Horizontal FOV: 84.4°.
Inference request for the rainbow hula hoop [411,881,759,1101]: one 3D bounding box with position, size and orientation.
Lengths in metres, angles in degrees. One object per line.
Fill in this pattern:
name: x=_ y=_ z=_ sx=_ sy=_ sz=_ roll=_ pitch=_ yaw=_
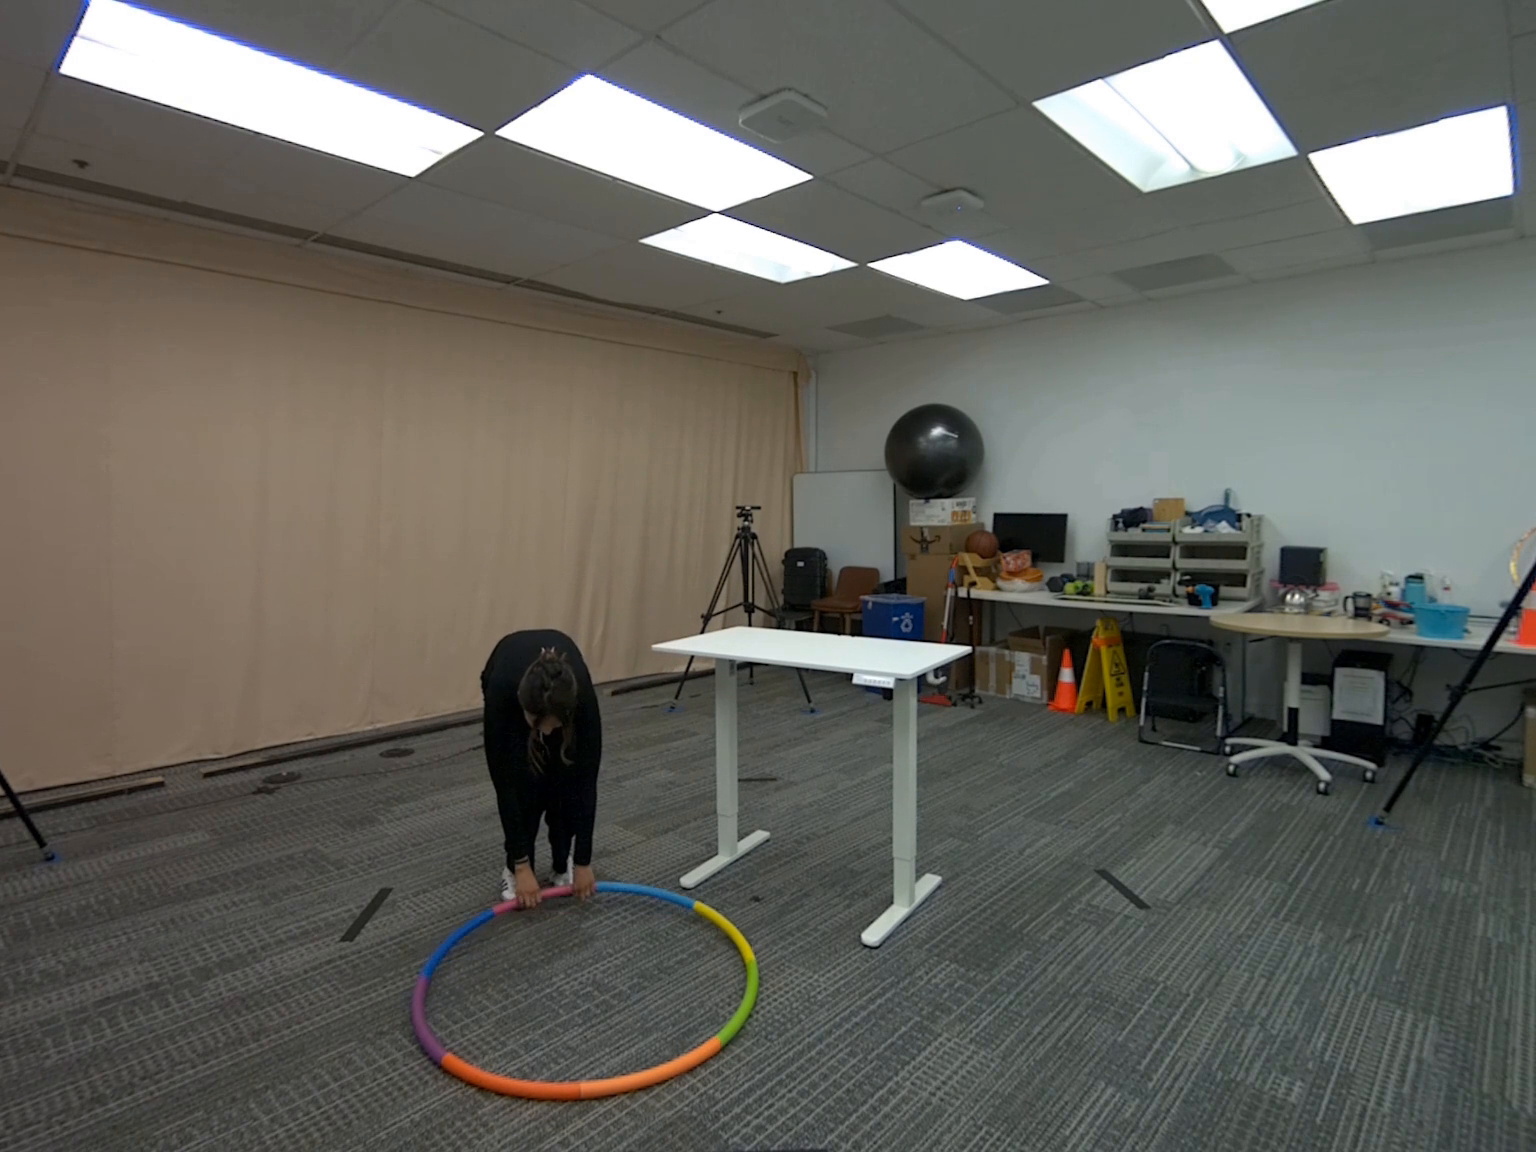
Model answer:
rainbow hula hoop: x=-0.512 y=1.143 z=2.448 sx=0.978 sy=0.035 sz=0.984 roll=0 pitch=7 yaw=-2
